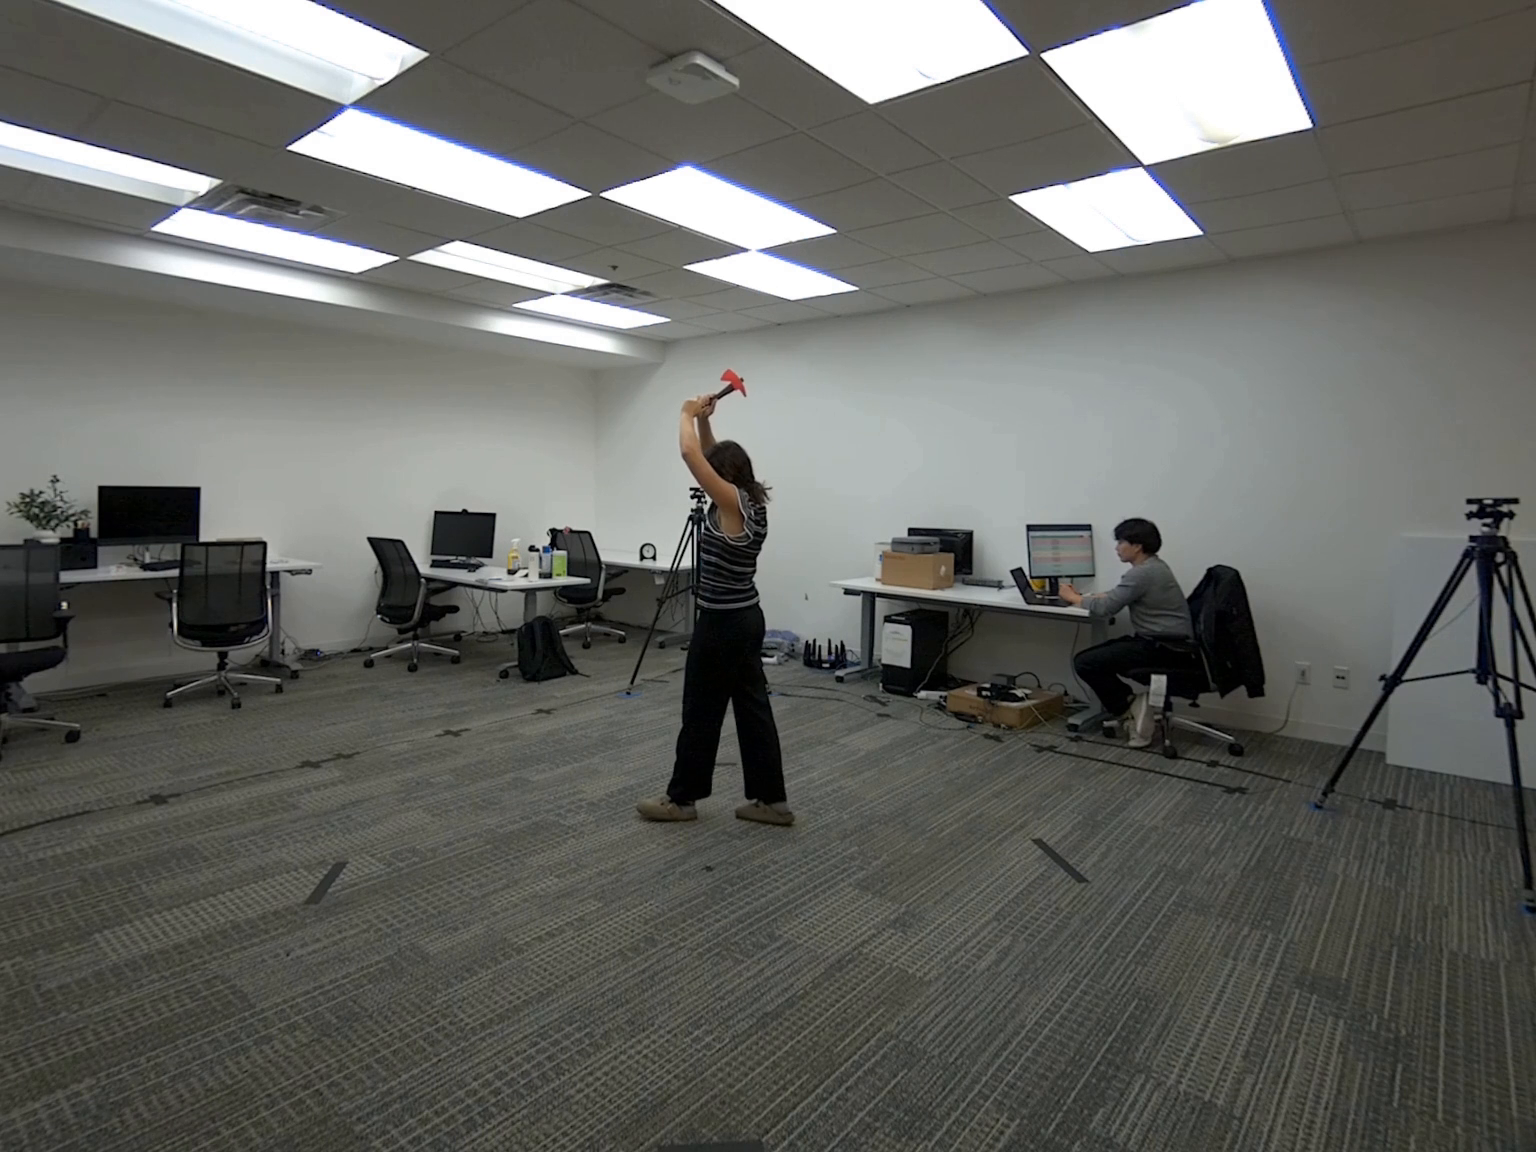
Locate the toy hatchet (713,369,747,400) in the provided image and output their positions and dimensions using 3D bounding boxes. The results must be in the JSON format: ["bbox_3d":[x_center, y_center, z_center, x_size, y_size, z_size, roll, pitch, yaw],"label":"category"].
[{"bbox_3d":[-0.239,-0.782,3.529,0.269,0.129,0.030,-15,10,-3],"label":"toy hatchet"}]
